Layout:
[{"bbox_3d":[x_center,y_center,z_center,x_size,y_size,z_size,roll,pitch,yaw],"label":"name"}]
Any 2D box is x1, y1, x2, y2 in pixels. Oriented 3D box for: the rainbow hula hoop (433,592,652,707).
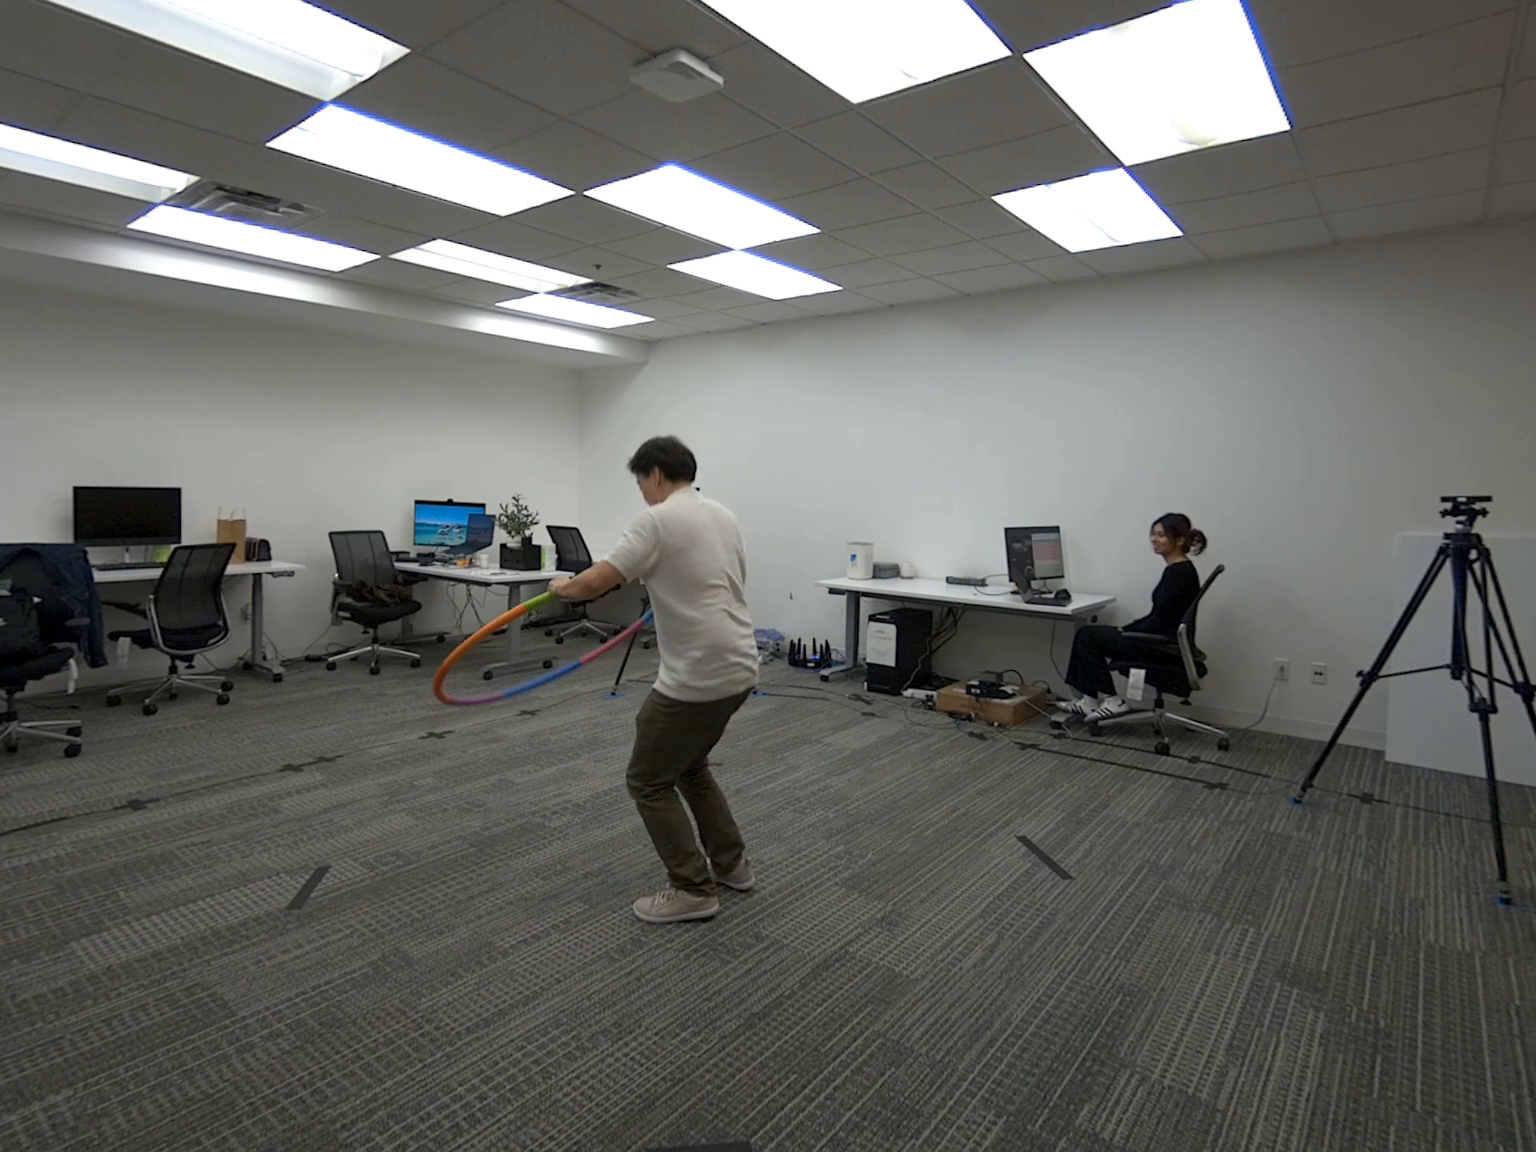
[{"bbox_3d":[-0.793,0.240,3.260,0.973,0.036,0.962,-27,-15,-11],"label":"rainbow hula hoop"}]
